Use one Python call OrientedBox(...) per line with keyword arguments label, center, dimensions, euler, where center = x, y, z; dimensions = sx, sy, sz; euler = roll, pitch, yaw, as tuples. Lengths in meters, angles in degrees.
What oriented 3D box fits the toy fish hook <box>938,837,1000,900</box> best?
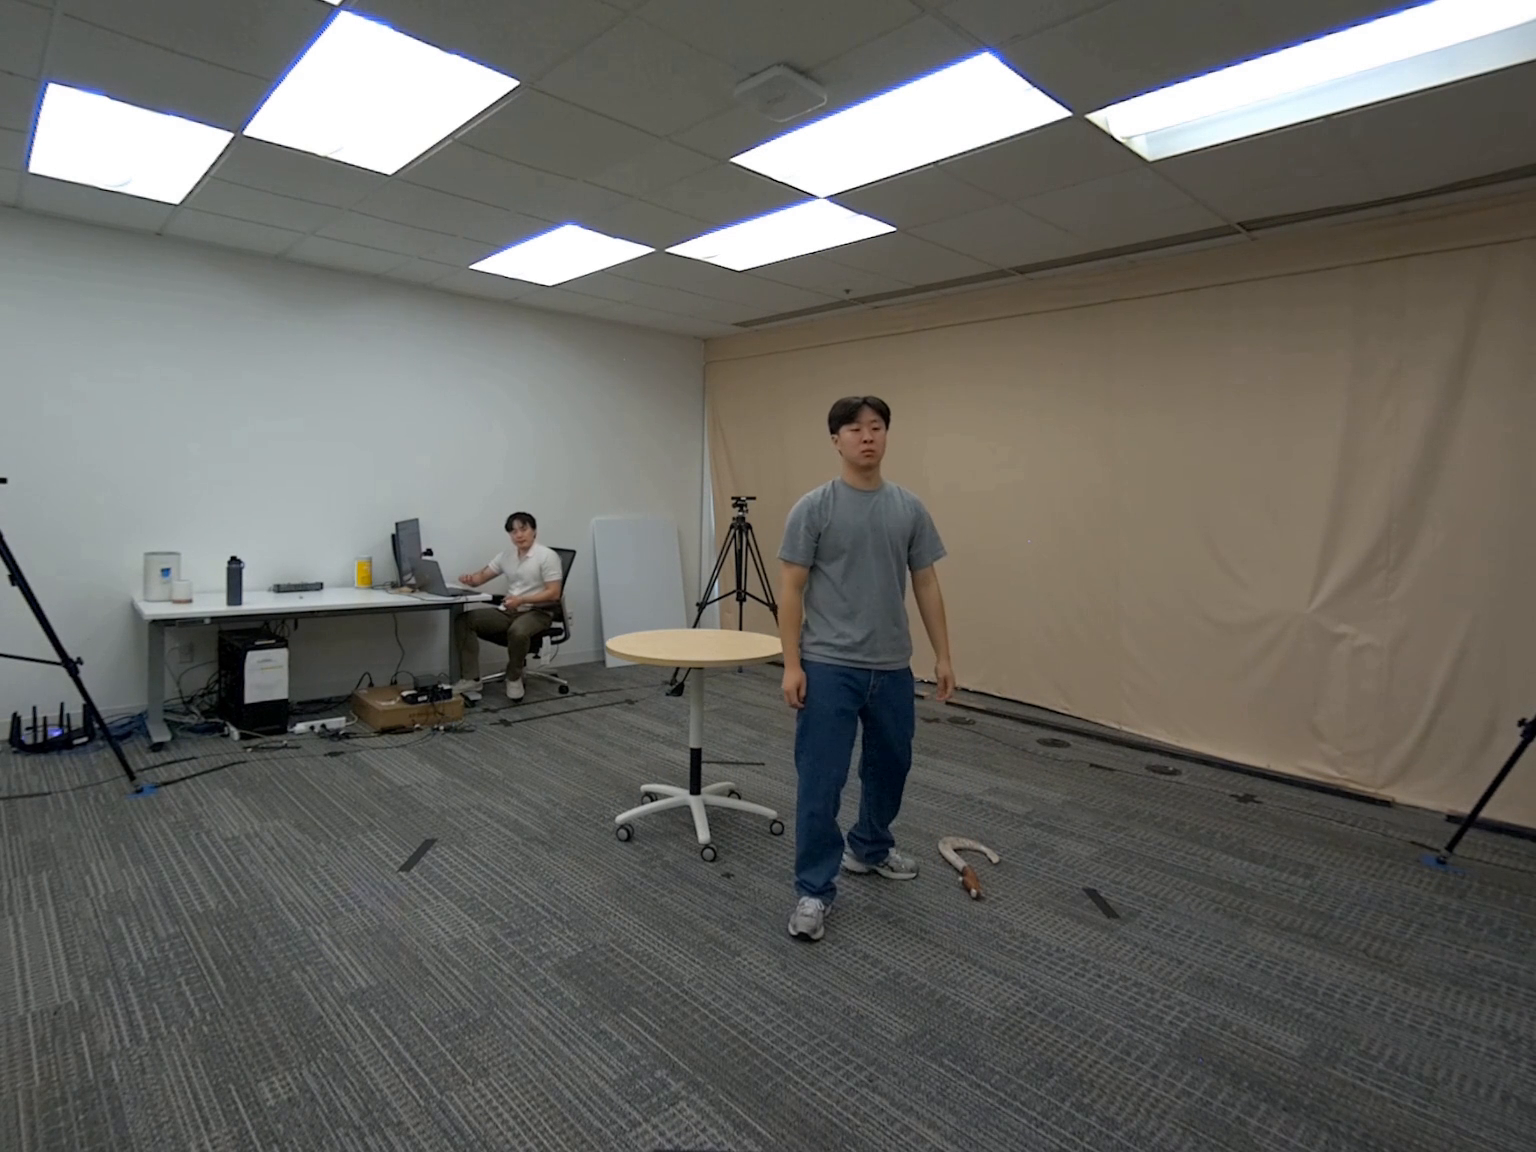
OrientedBox(label="toy fish hook", center=(0.782, 1.099, 3.195), dimensions=(0.225, 0.048, 0.507), euler=(1, 6, 1))
